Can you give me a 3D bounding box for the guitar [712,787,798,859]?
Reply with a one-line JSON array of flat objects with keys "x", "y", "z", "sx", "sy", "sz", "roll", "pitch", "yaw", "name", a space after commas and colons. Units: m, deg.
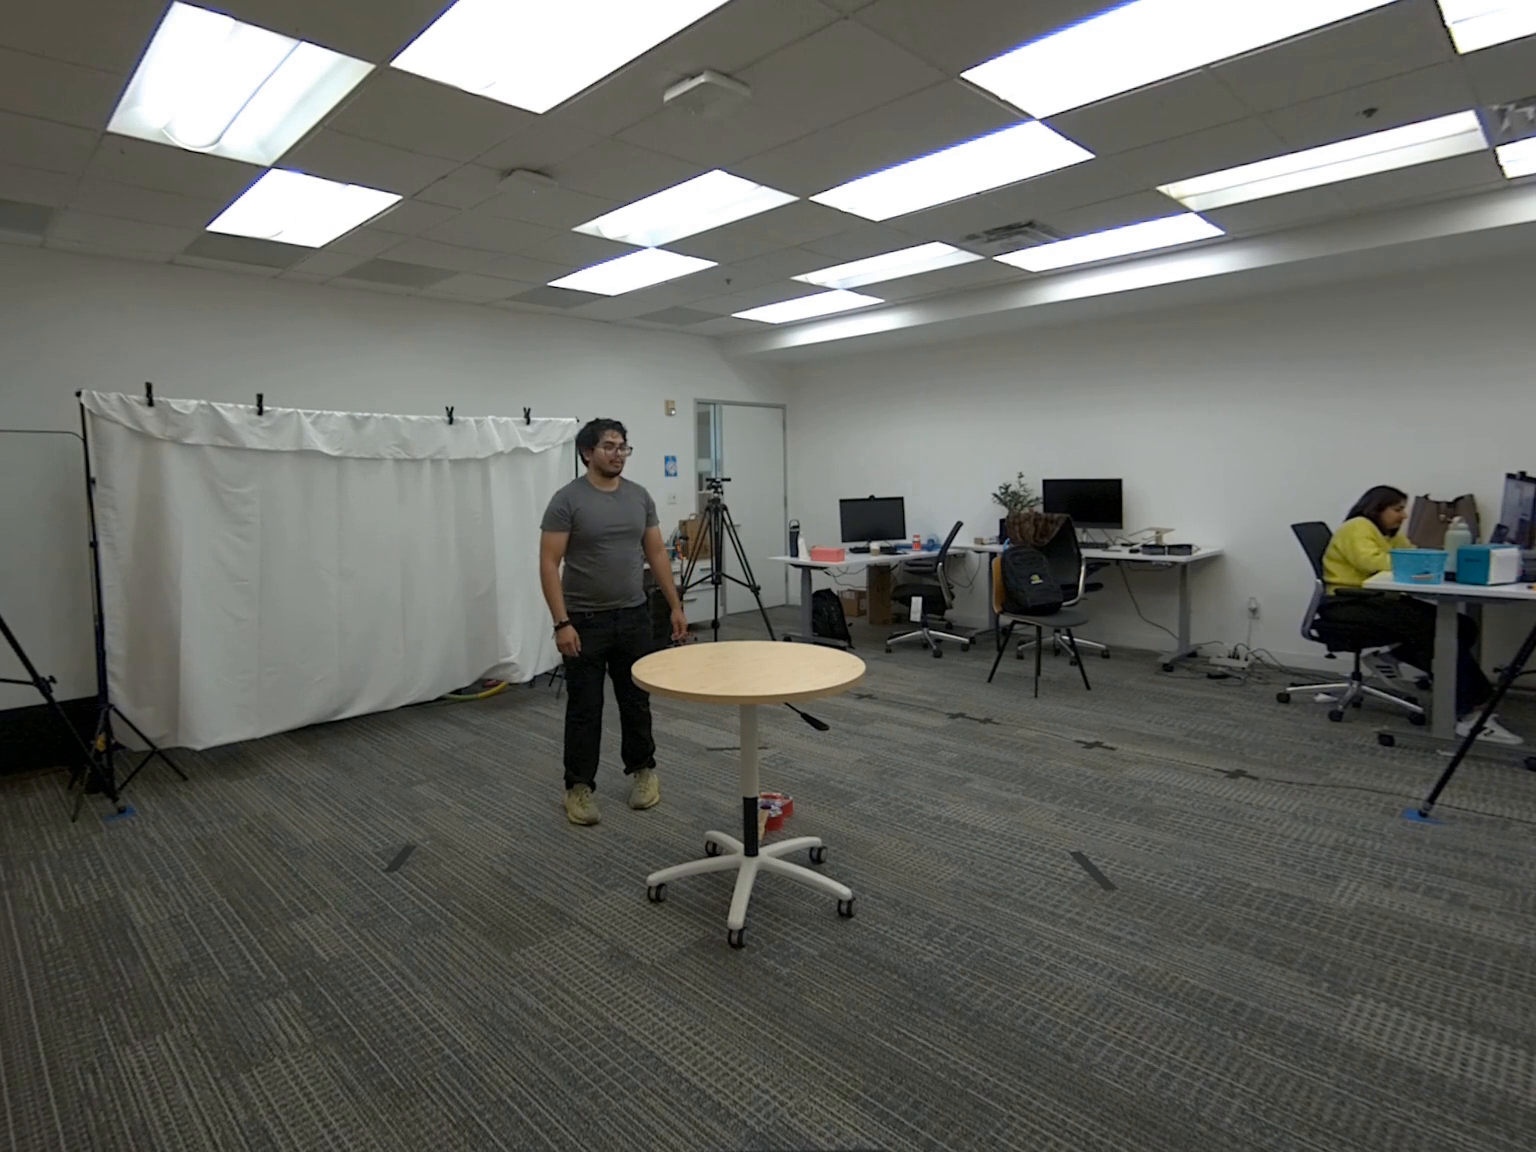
[{"x": -0.045, "y": 0.968, "z": 3.406, "sx": 0.196, "sy": 0.070, "sz": 0.491, "roll": 2, "pitch": 7, "yaw": 18, "name": "guitar"}]
